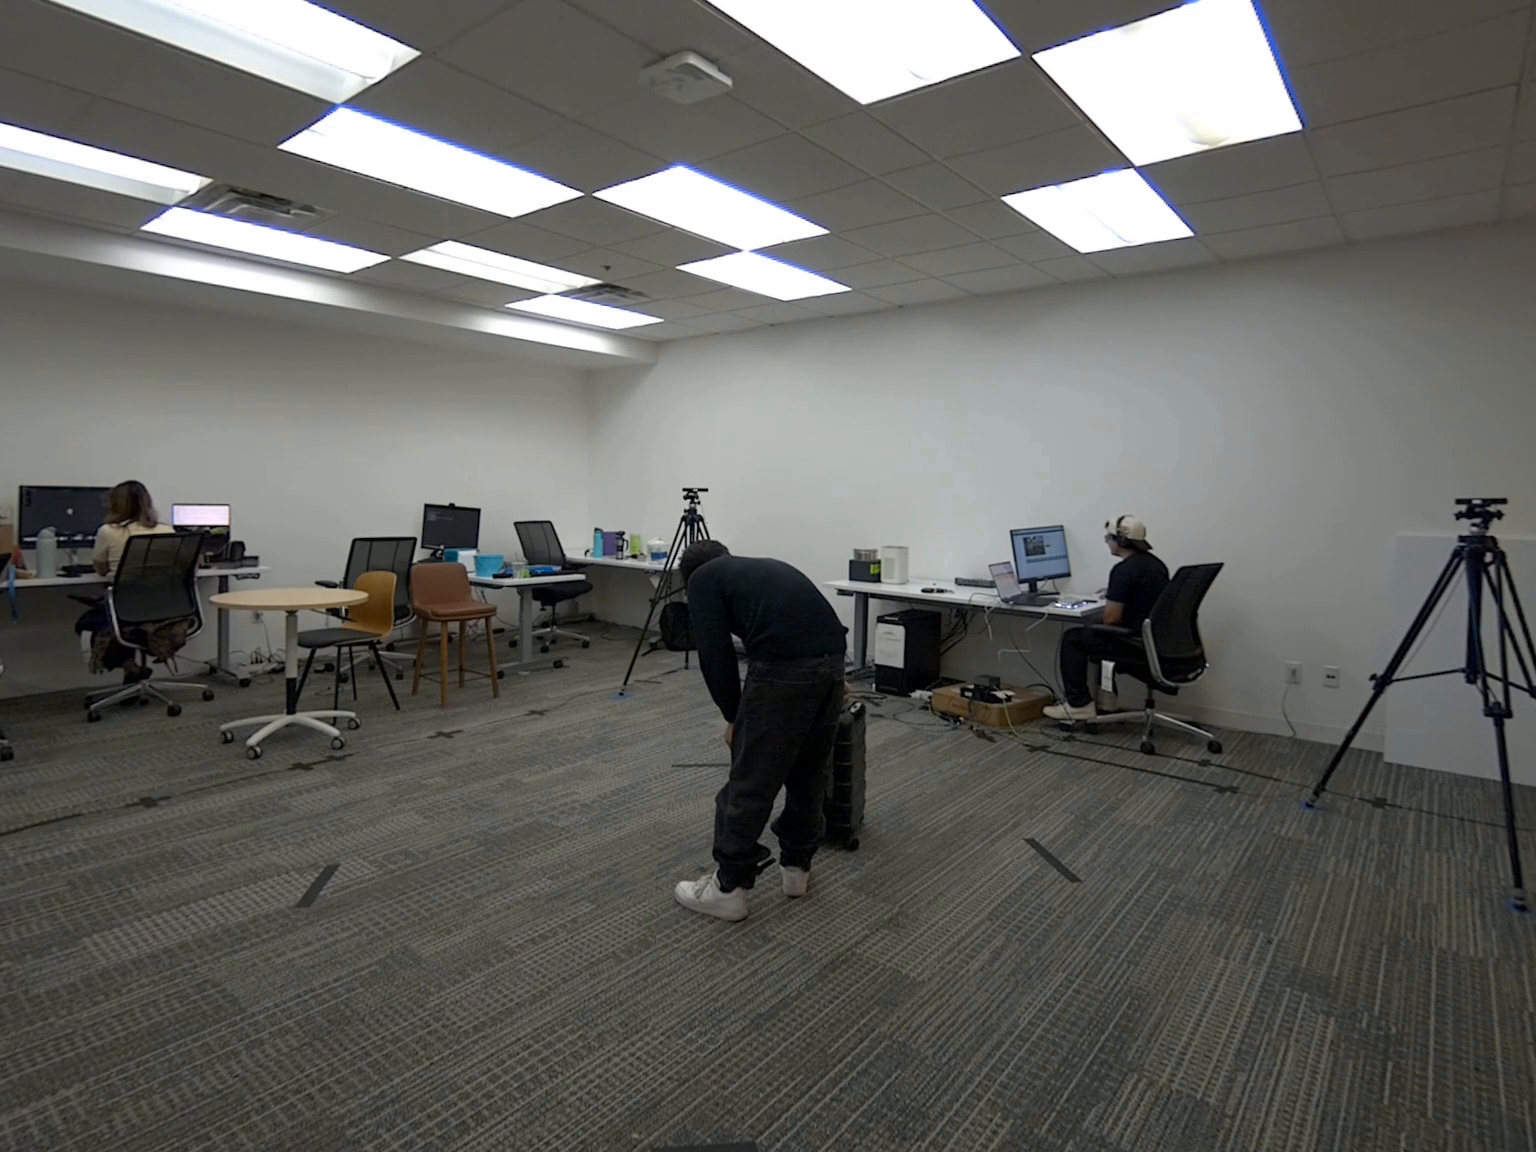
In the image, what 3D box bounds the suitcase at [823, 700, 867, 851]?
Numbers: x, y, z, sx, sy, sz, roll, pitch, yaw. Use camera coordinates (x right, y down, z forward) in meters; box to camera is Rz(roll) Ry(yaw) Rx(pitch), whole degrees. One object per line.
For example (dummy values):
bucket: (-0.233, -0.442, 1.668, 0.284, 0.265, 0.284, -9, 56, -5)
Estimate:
suitcase: (0.245, 0.771, 3.463, 0.253, 0.547, 0.370, 2, 5, 17)
